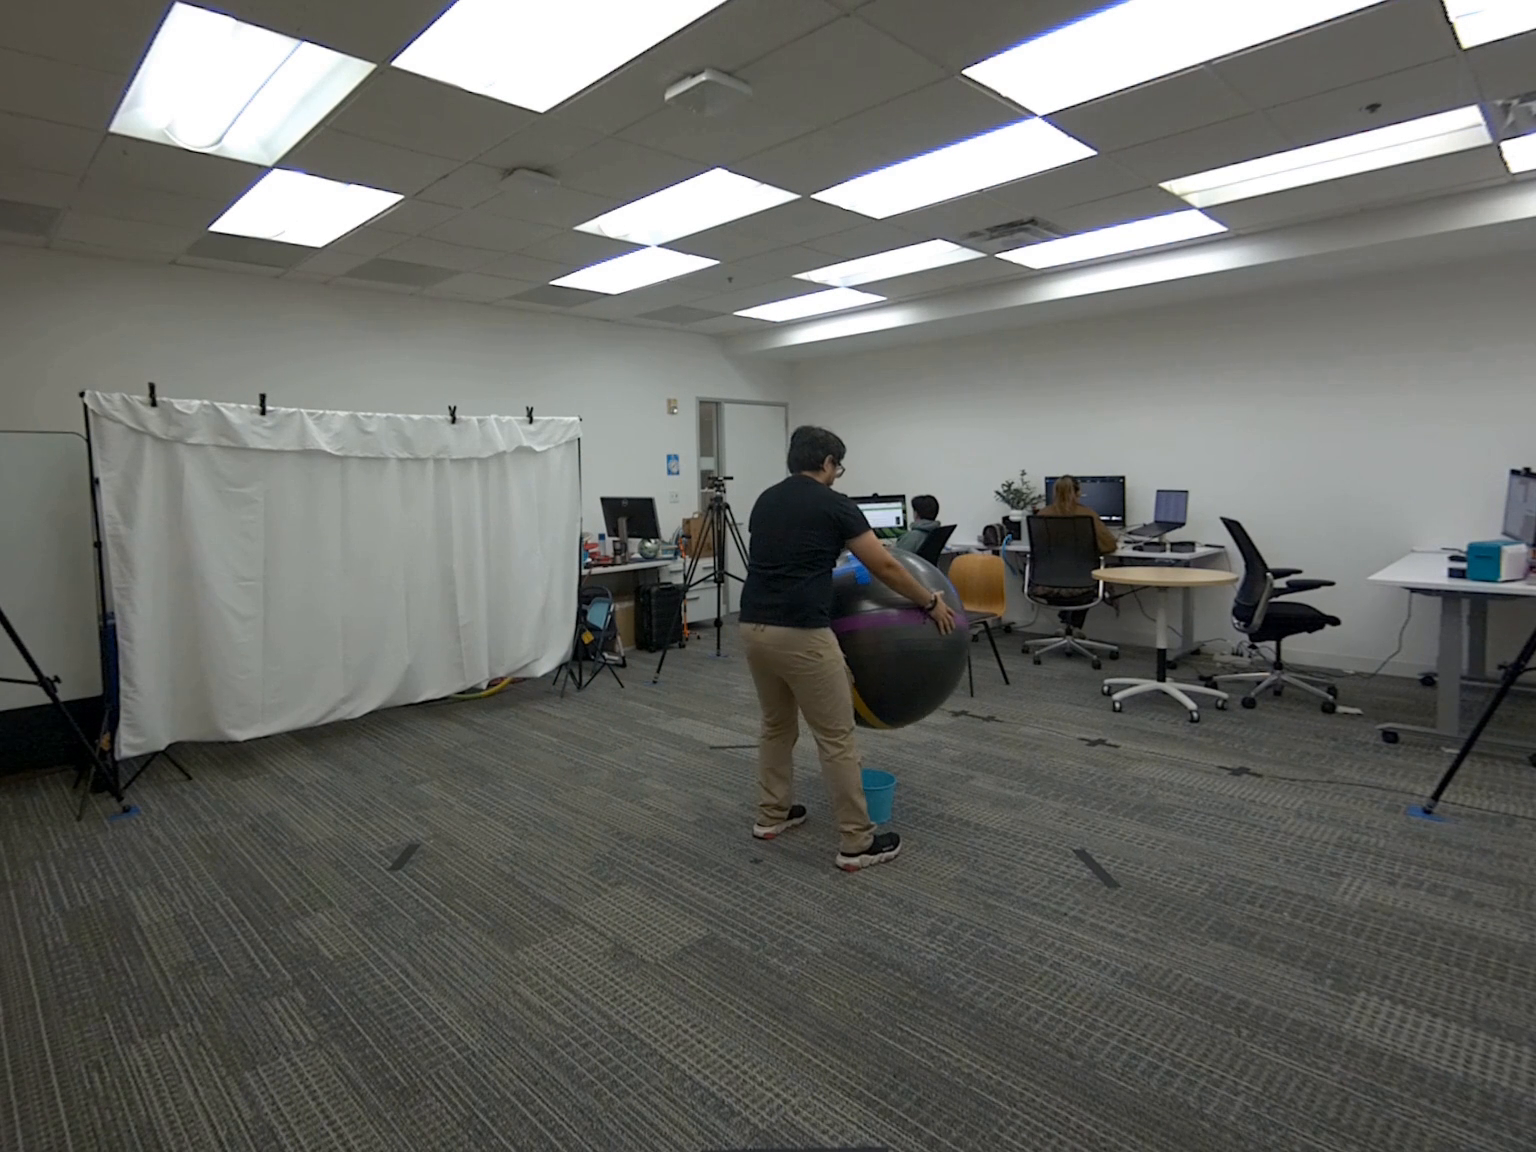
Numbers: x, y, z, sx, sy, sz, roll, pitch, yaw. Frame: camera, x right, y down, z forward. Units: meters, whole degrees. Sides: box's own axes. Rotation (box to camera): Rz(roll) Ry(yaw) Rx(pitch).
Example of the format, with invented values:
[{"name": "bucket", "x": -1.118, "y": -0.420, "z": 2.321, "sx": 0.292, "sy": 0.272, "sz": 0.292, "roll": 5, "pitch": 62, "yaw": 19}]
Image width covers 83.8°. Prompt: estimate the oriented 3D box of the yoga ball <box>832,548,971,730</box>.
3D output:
[{"name": "yoga ball", "x": 0.466, "y": 0.256, "z": 3.611, "sx": 0.757, "sy": 0.755, "sz": 0.762, "roll": -1, "pitch": 5, "yaw": -2}]
